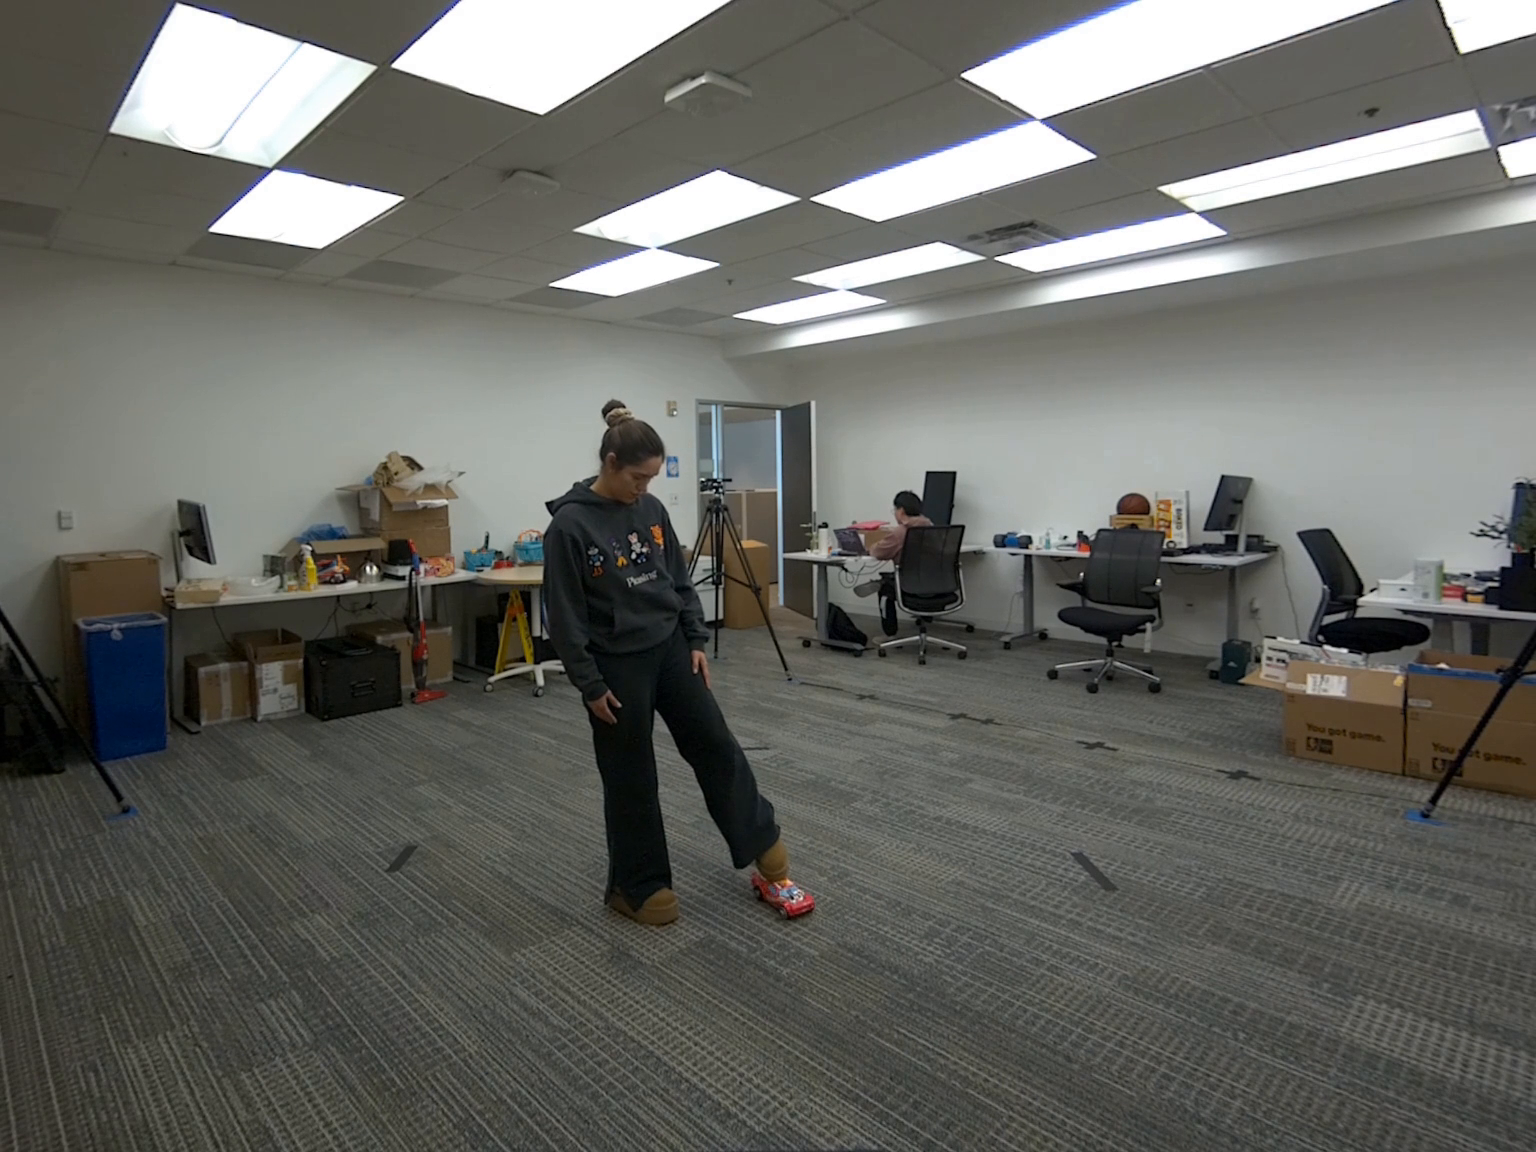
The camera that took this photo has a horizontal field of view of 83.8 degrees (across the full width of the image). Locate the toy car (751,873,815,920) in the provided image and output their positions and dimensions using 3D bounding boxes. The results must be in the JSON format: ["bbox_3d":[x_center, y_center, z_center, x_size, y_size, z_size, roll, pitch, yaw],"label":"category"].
[{"bbox_3d":[0.042,1.043,2.801,0.127,0.082,0.263,-6,17,-31],"label":"toy car"}]
